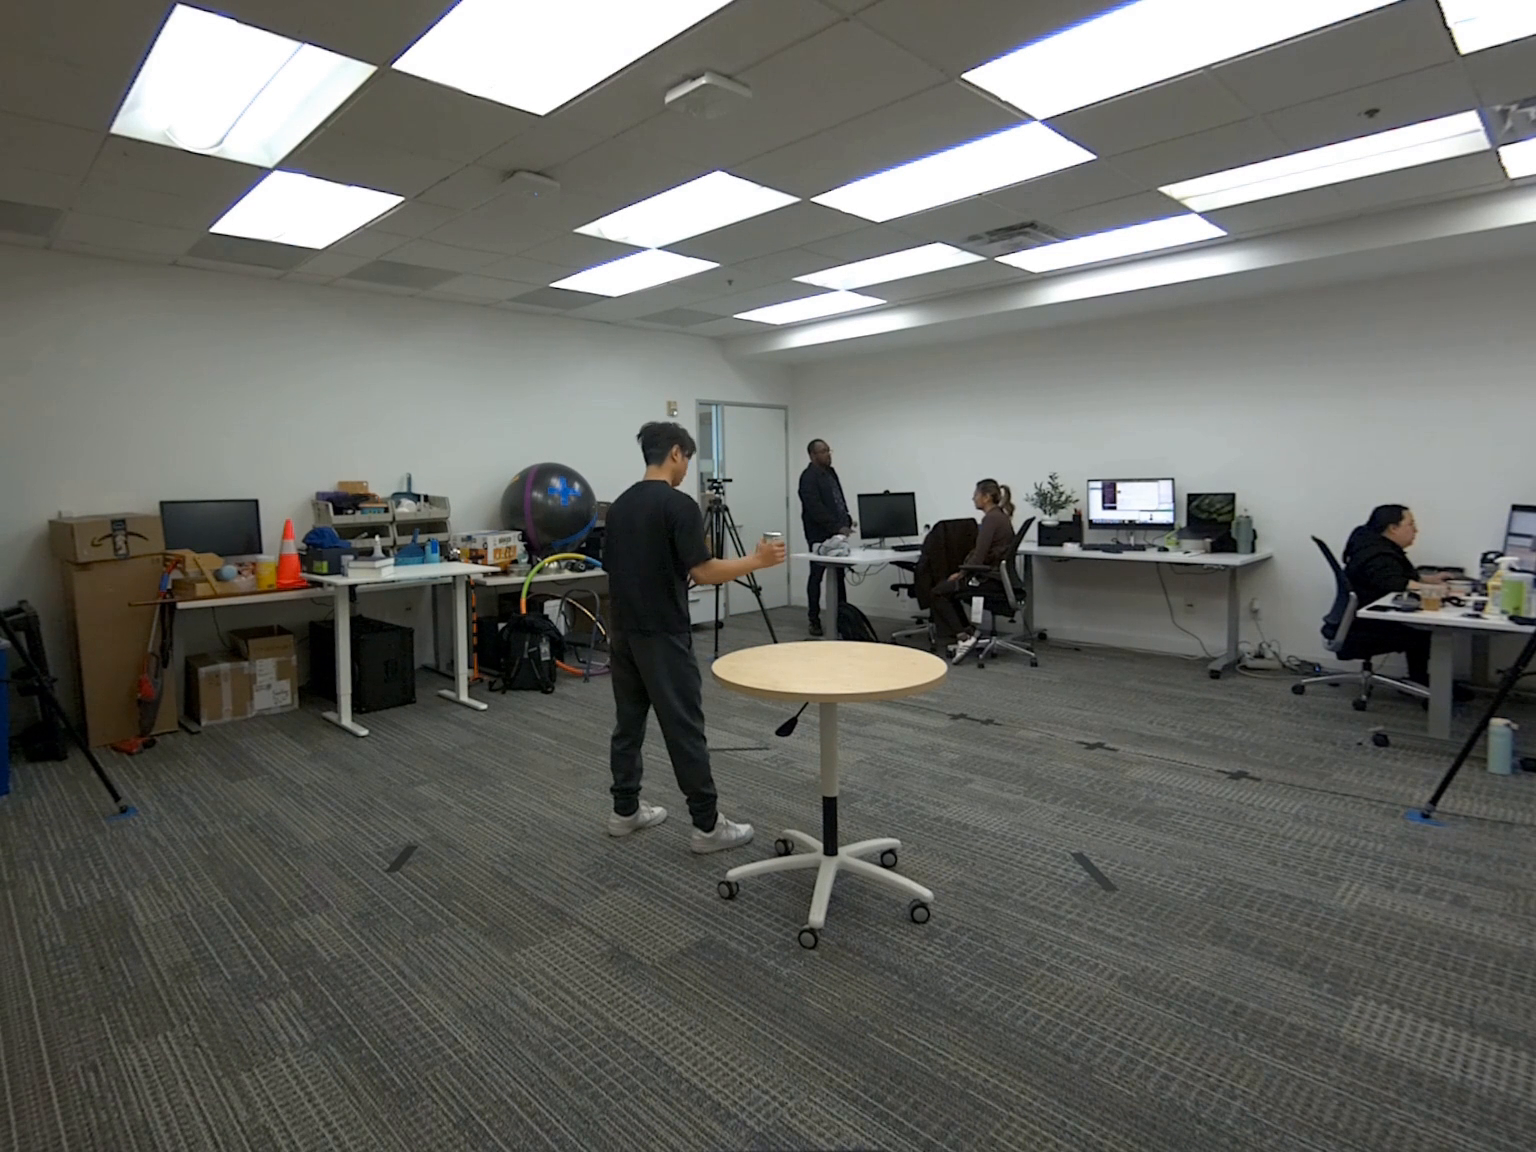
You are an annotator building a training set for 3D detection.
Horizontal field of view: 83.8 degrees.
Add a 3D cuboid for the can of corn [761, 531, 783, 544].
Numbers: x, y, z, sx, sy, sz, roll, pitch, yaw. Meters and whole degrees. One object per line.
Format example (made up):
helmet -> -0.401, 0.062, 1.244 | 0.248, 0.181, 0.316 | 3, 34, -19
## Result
can of corn -> 0.011, -0.110, 3.244 | 0.074, 0.110, 0.075 | 1, 8, -2
